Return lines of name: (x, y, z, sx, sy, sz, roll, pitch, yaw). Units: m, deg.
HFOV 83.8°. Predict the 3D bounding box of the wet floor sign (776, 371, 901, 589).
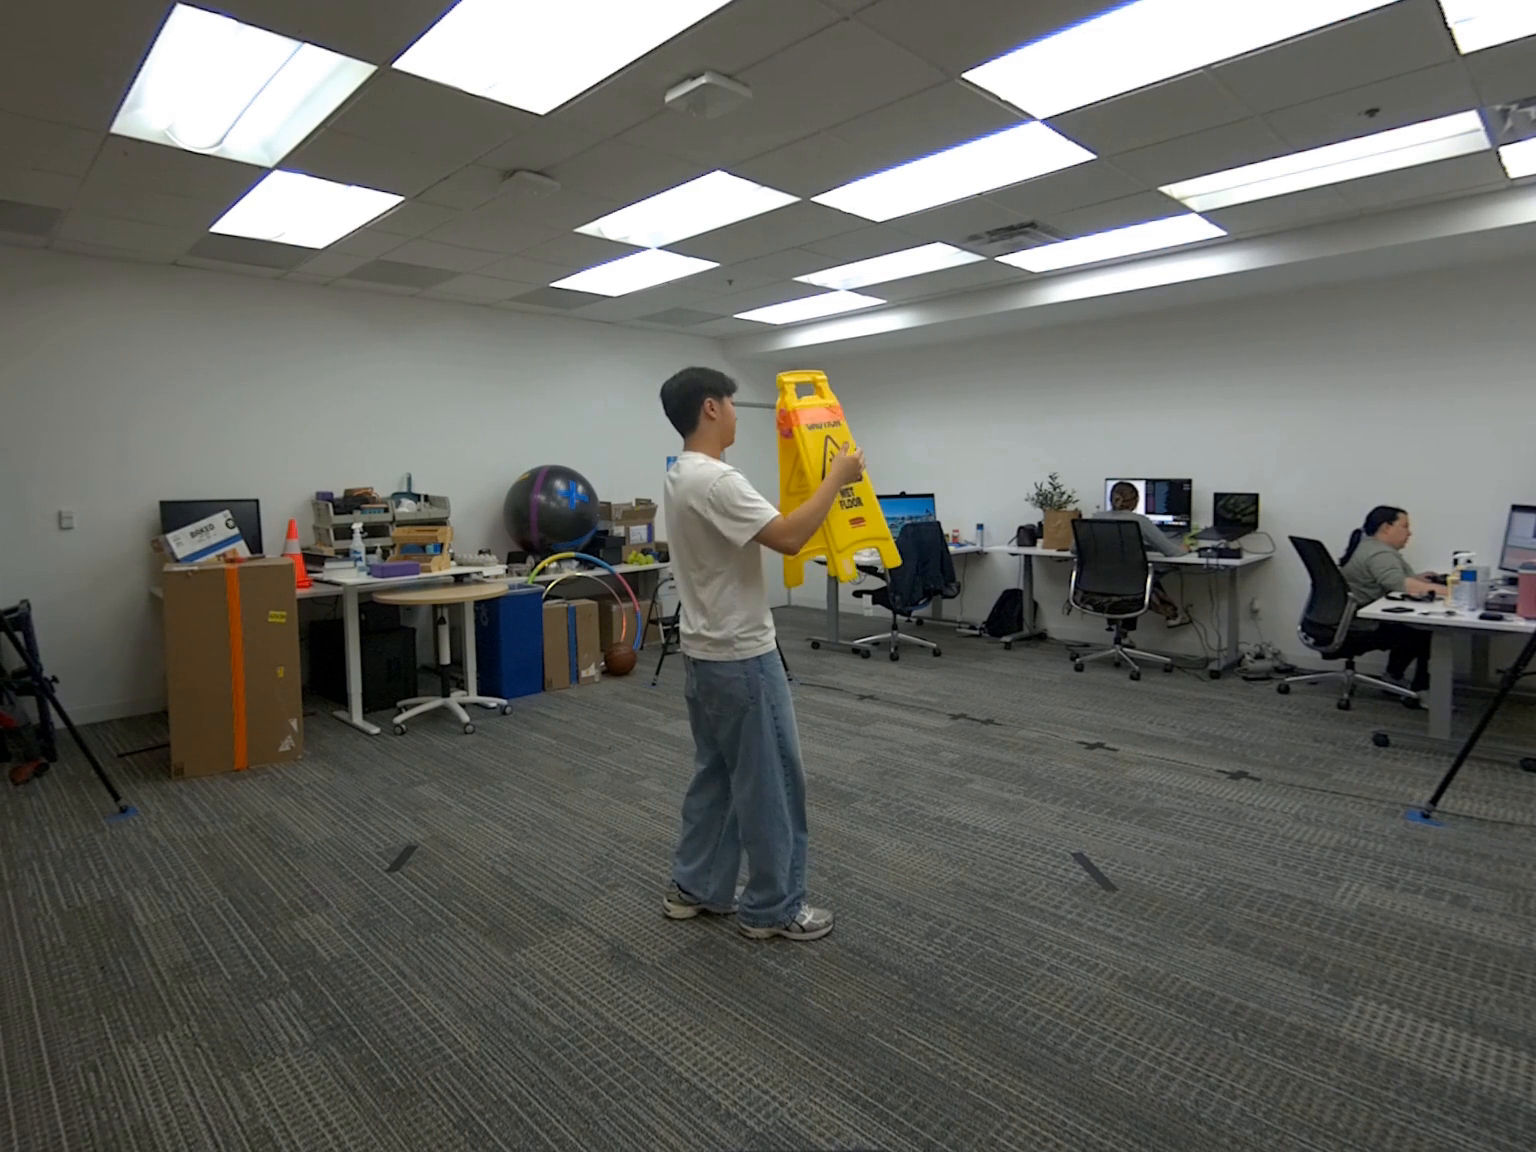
wet floor sign: (0.159, -0.310, 2.650, 0.276, 0.646, 0.296, -12, 1, -41)
